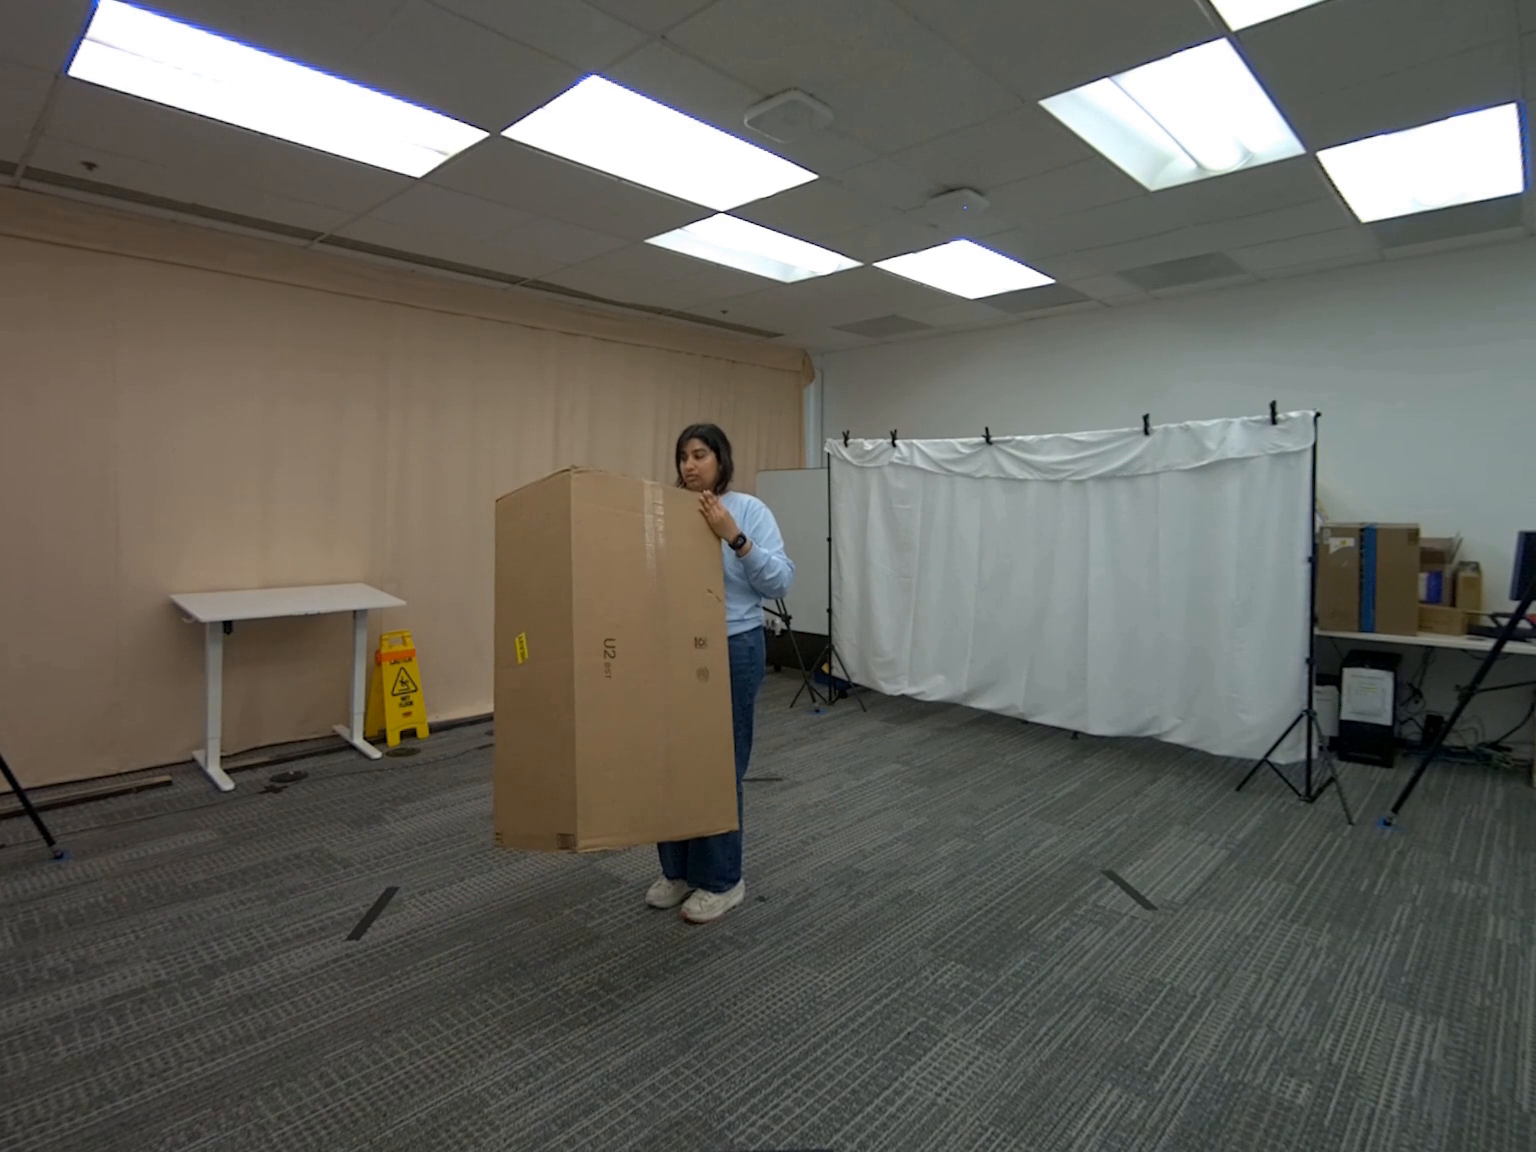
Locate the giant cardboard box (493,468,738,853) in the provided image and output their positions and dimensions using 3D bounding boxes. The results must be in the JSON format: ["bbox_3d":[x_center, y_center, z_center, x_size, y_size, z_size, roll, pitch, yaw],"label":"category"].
[{"bbox_3d":[-0.467,0.257,2.536,0.564,1.036,0.458,8,-18,-43],"label":"giant cardboard box"}]
